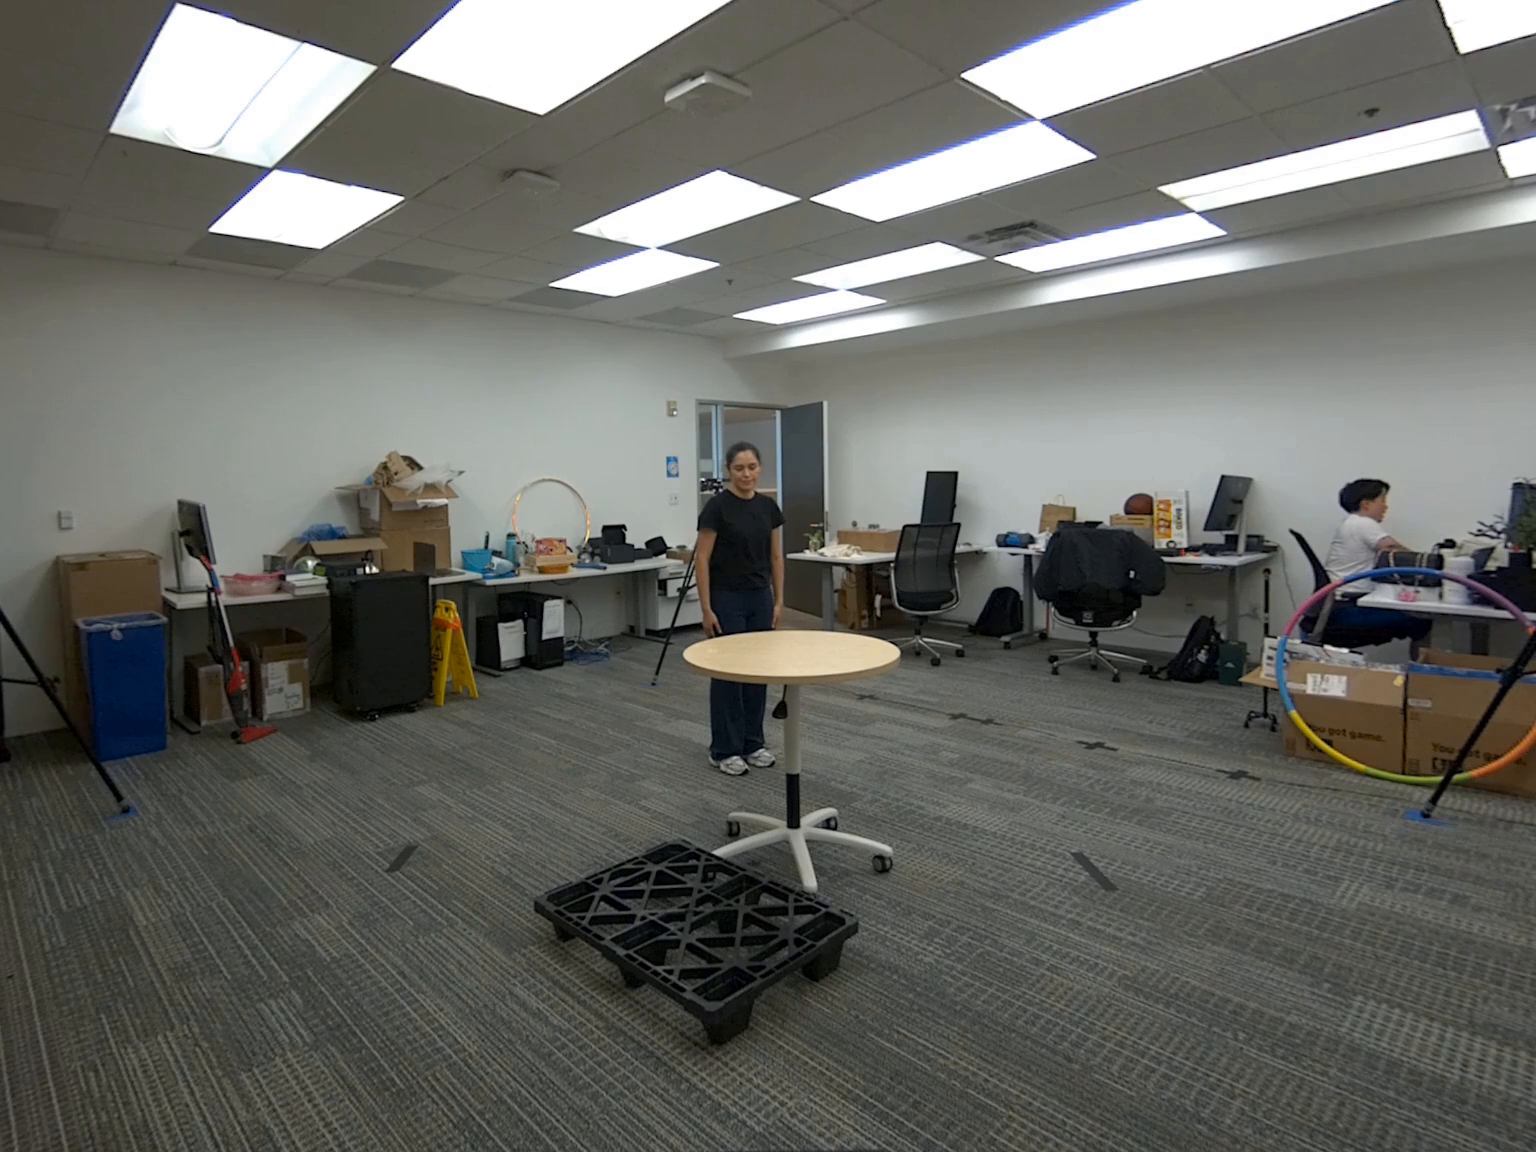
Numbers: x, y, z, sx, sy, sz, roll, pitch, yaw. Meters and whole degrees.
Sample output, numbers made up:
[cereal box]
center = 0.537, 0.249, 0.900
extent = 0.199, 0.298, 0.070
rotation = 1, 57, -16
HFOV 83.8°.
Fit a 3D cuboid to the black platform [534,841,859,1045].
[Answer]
[black platform]
center = -0.228, 1.050, 2.549
extent = 0.831, 0.142, 0.589
rotation = 6, 9, 44
